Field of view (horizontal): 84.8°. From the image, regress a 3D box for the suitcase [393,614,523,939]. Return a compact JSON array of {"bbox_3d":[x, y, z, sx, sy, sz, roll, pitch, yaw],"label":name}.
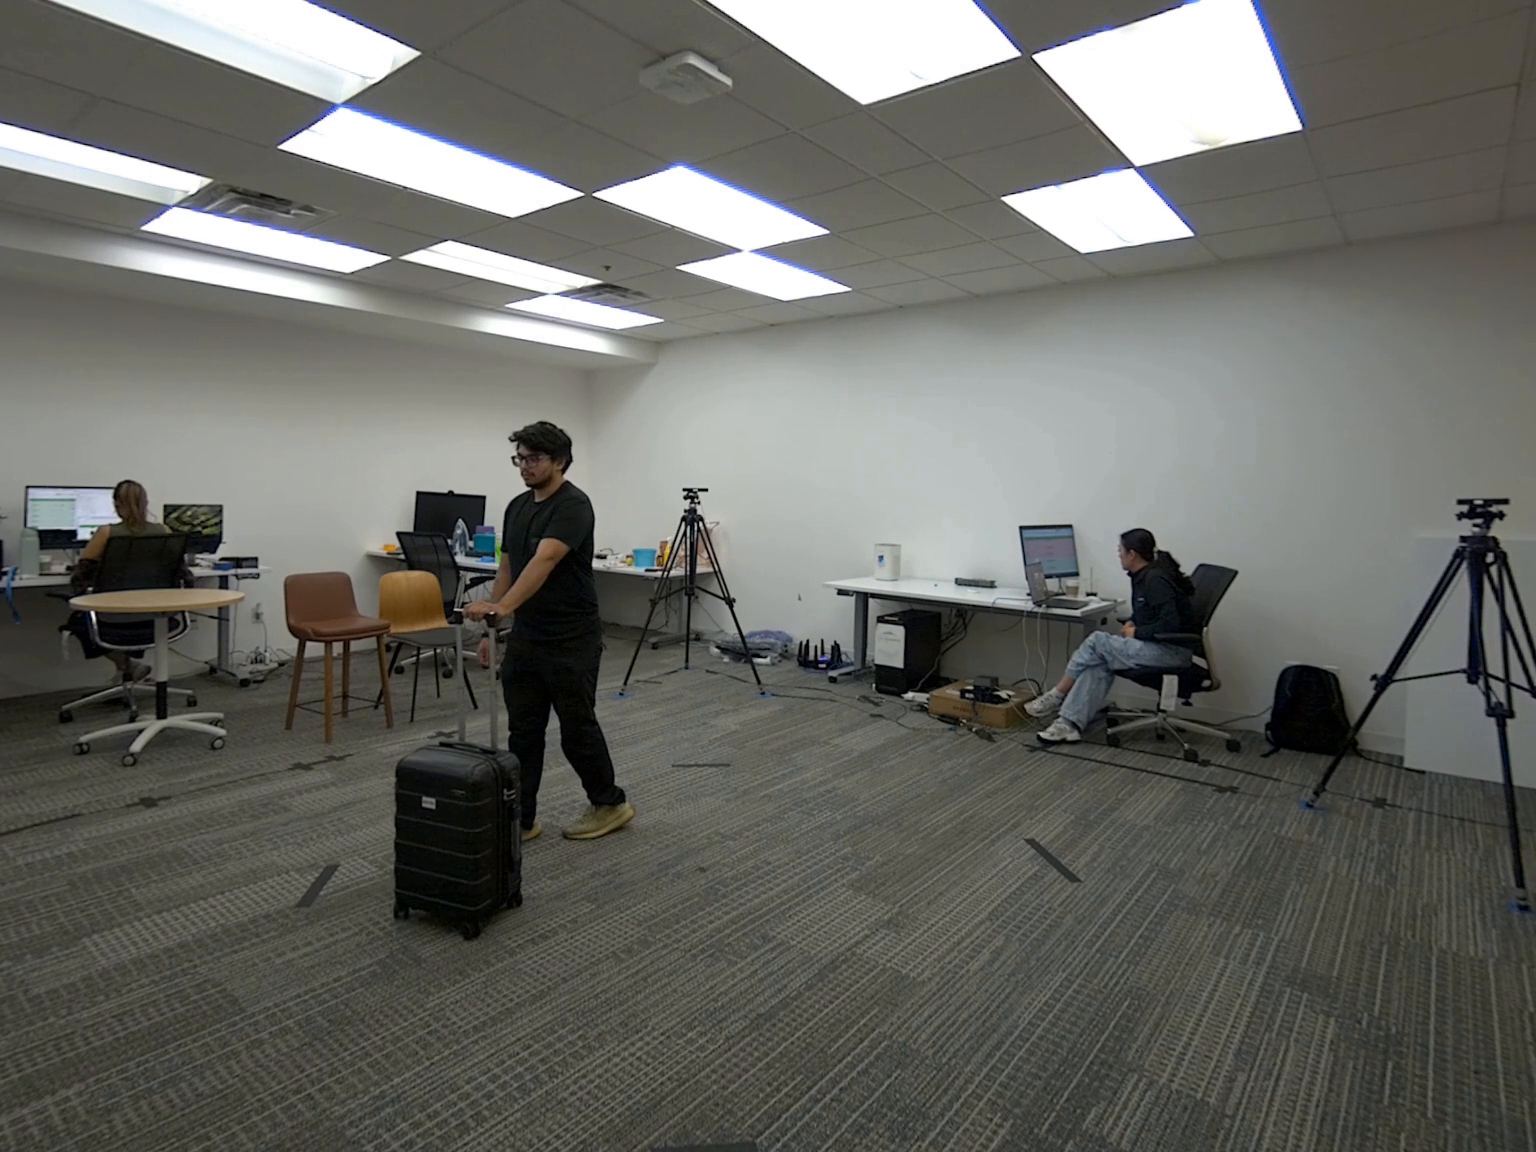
[{"bbox_3d":[-1.004,0.622,2.717,0.393,0.973,0.253,4,7,20],"label":"suitcase"}]
